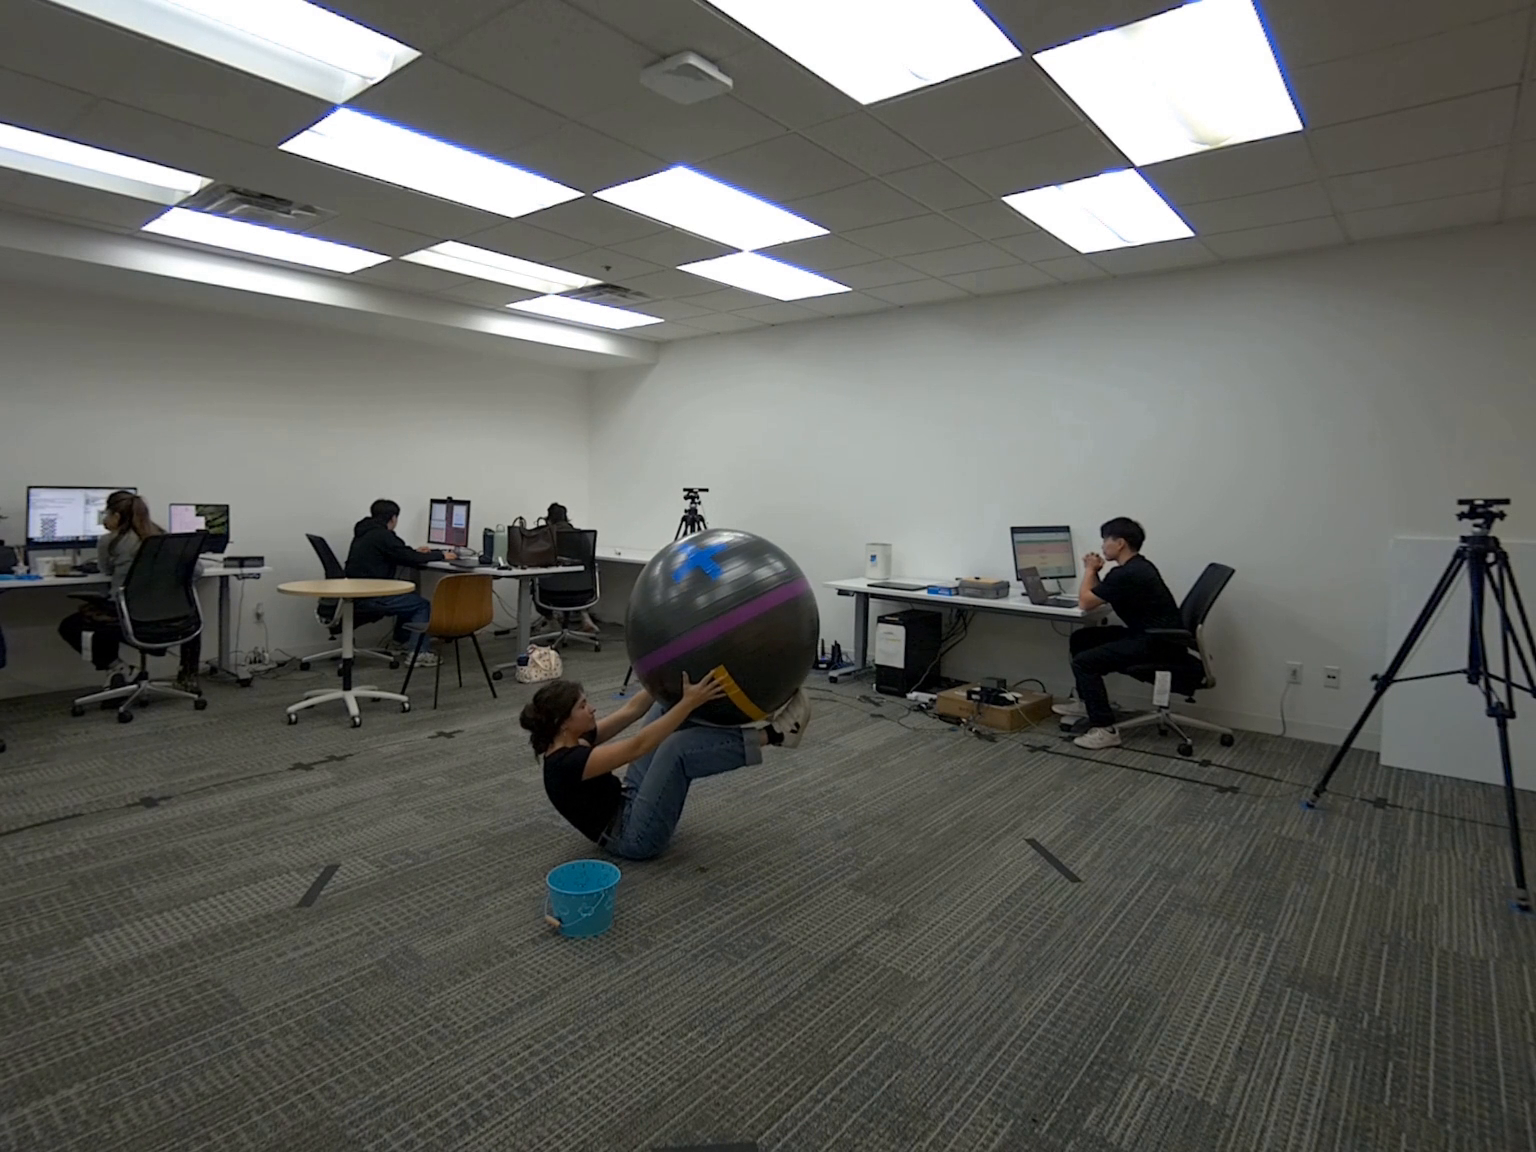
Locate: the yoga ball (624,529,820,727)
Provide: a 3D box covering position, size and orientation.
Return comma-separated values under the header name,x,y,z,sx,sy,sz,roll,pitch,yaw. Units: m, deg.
name,x,y,z,sx,sy,sz,roll,pitch,yaw
yoga ball,-0.193,0.199,3.295,0.757,0.756,0.761,1,4,-2
